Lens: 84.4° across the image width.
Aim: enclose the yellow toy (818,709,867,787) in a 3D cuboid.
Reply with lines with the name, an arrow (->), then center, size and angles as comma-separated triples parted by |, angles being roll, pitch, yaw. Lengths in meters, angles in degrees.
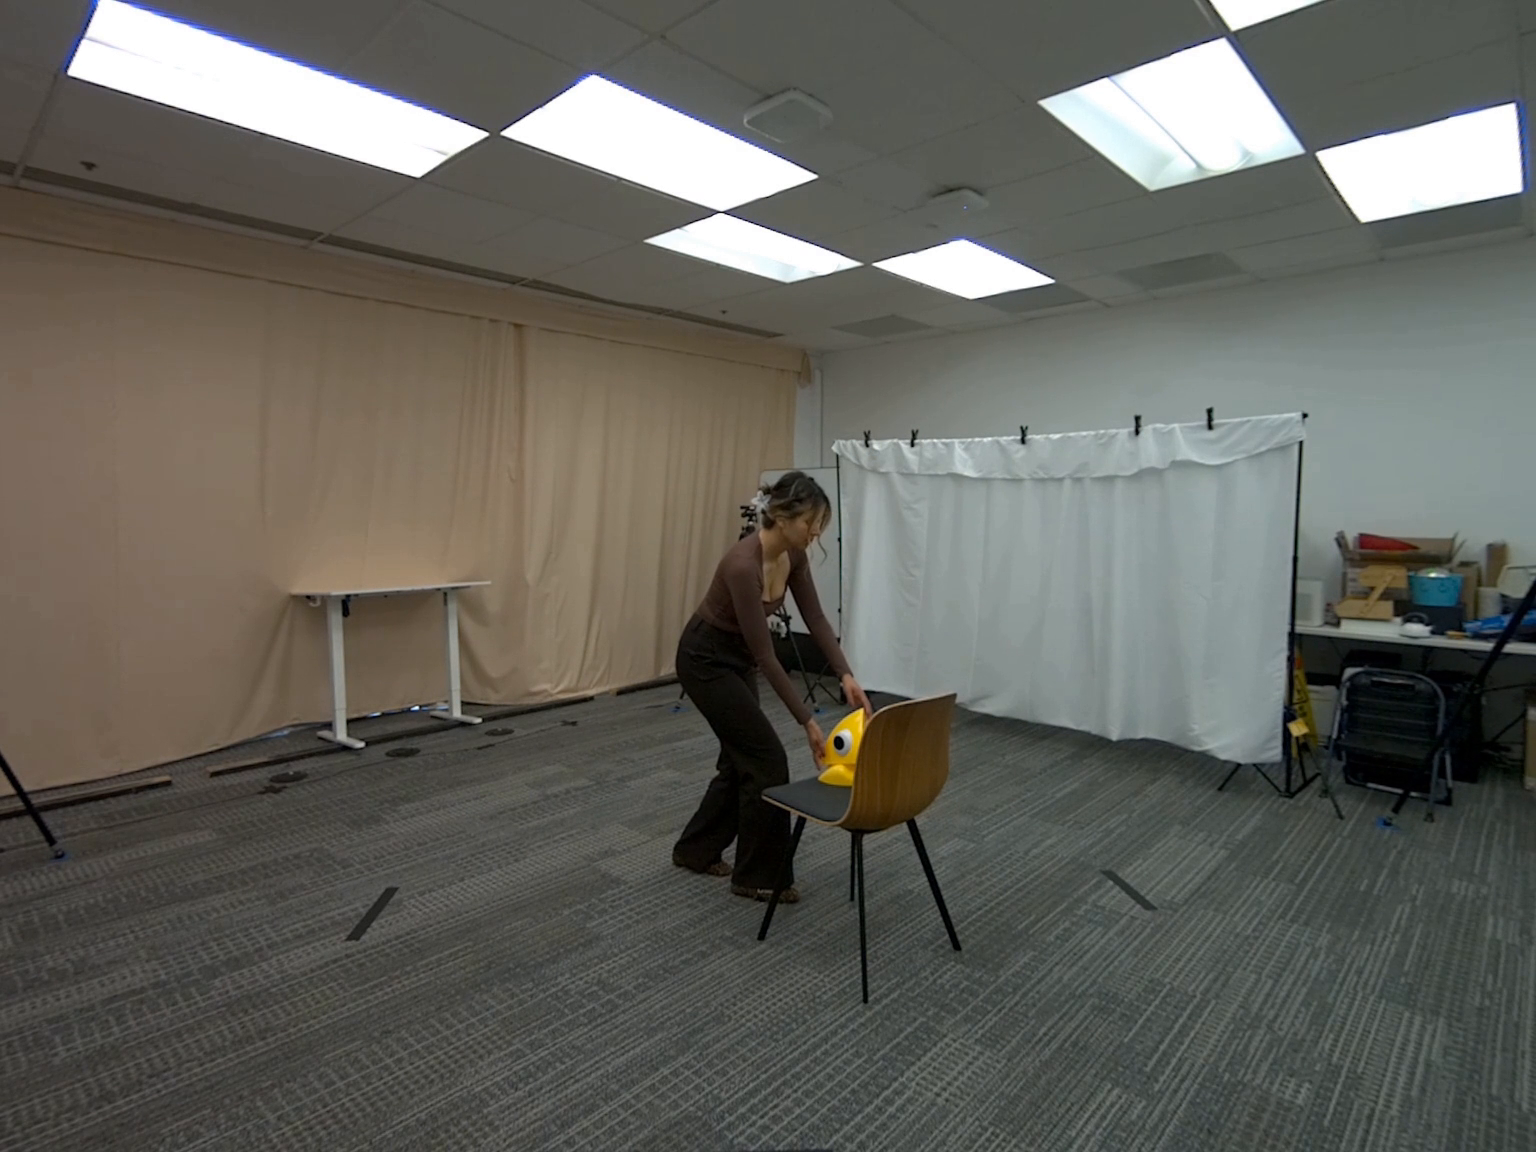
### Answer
yellow toy -> 0.273, 0.556, 2.819 | 0.197, 0.229, 0.201 | -1, 8, 19
